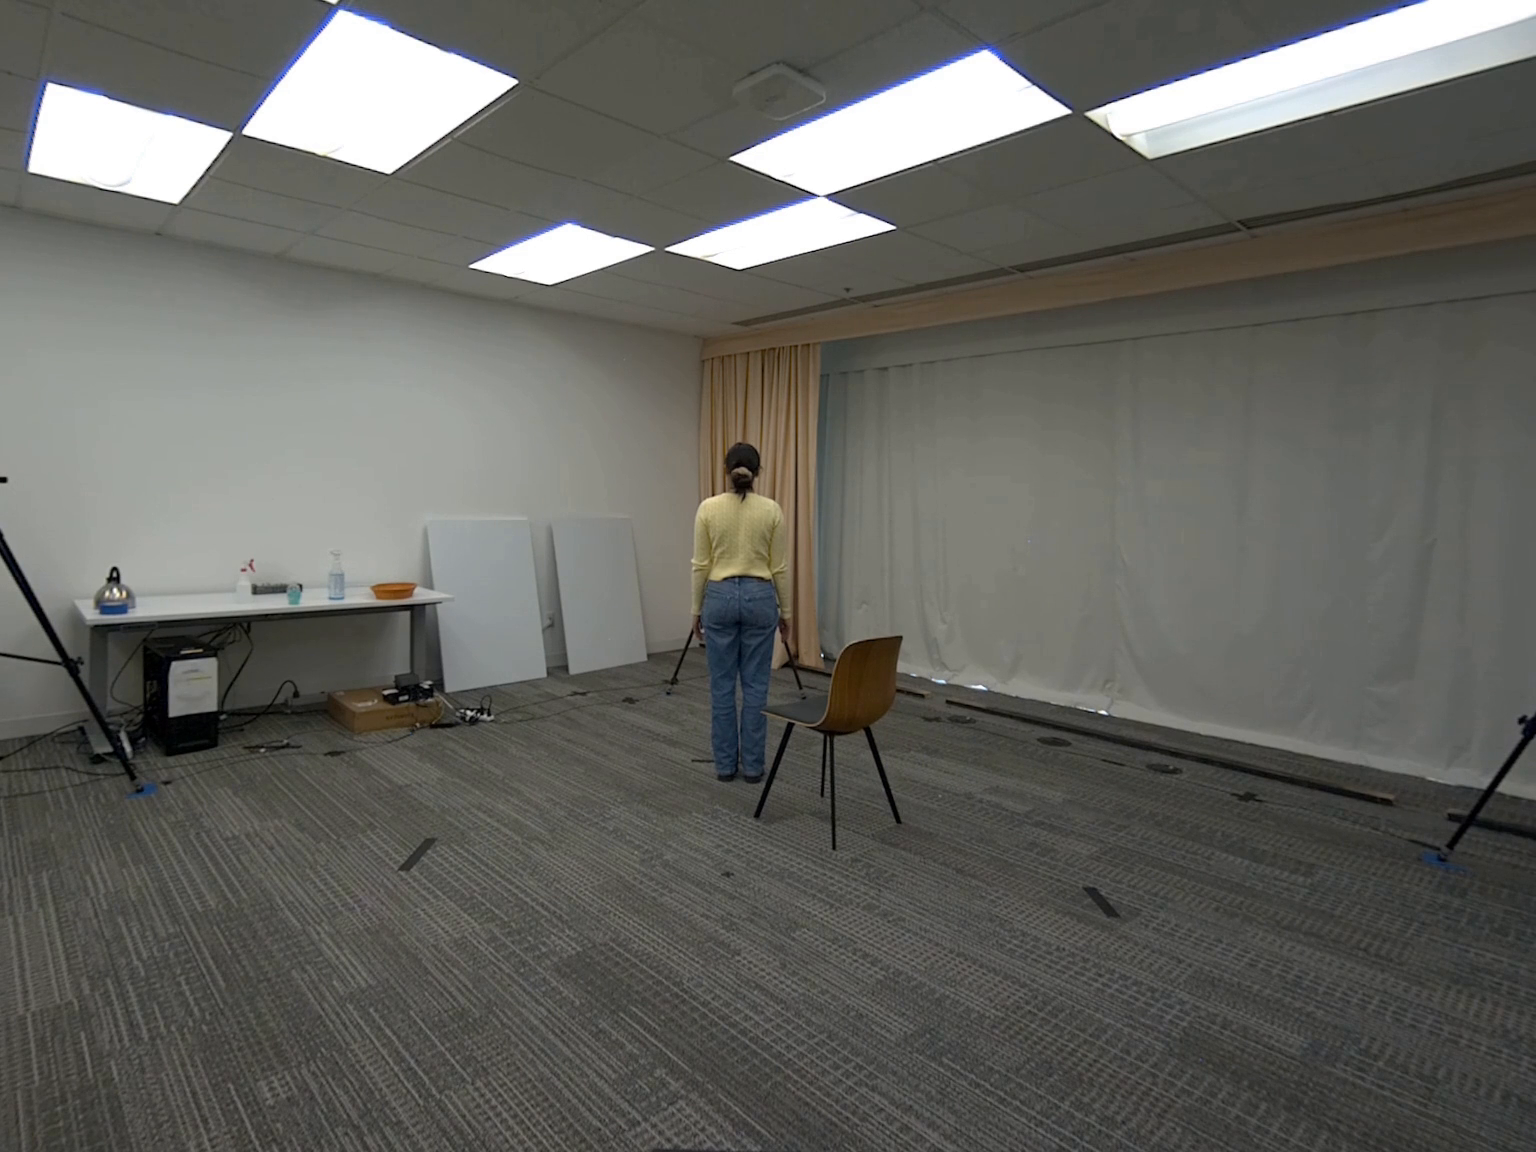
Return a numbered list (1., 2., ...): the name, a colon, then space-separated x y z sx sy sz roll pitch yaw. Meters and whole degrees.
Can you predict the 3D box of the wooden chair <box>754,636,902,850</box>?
1. wooden chair: 0.260 0.637 3.627 0.467 0.873 0.537 -2 9 -44
